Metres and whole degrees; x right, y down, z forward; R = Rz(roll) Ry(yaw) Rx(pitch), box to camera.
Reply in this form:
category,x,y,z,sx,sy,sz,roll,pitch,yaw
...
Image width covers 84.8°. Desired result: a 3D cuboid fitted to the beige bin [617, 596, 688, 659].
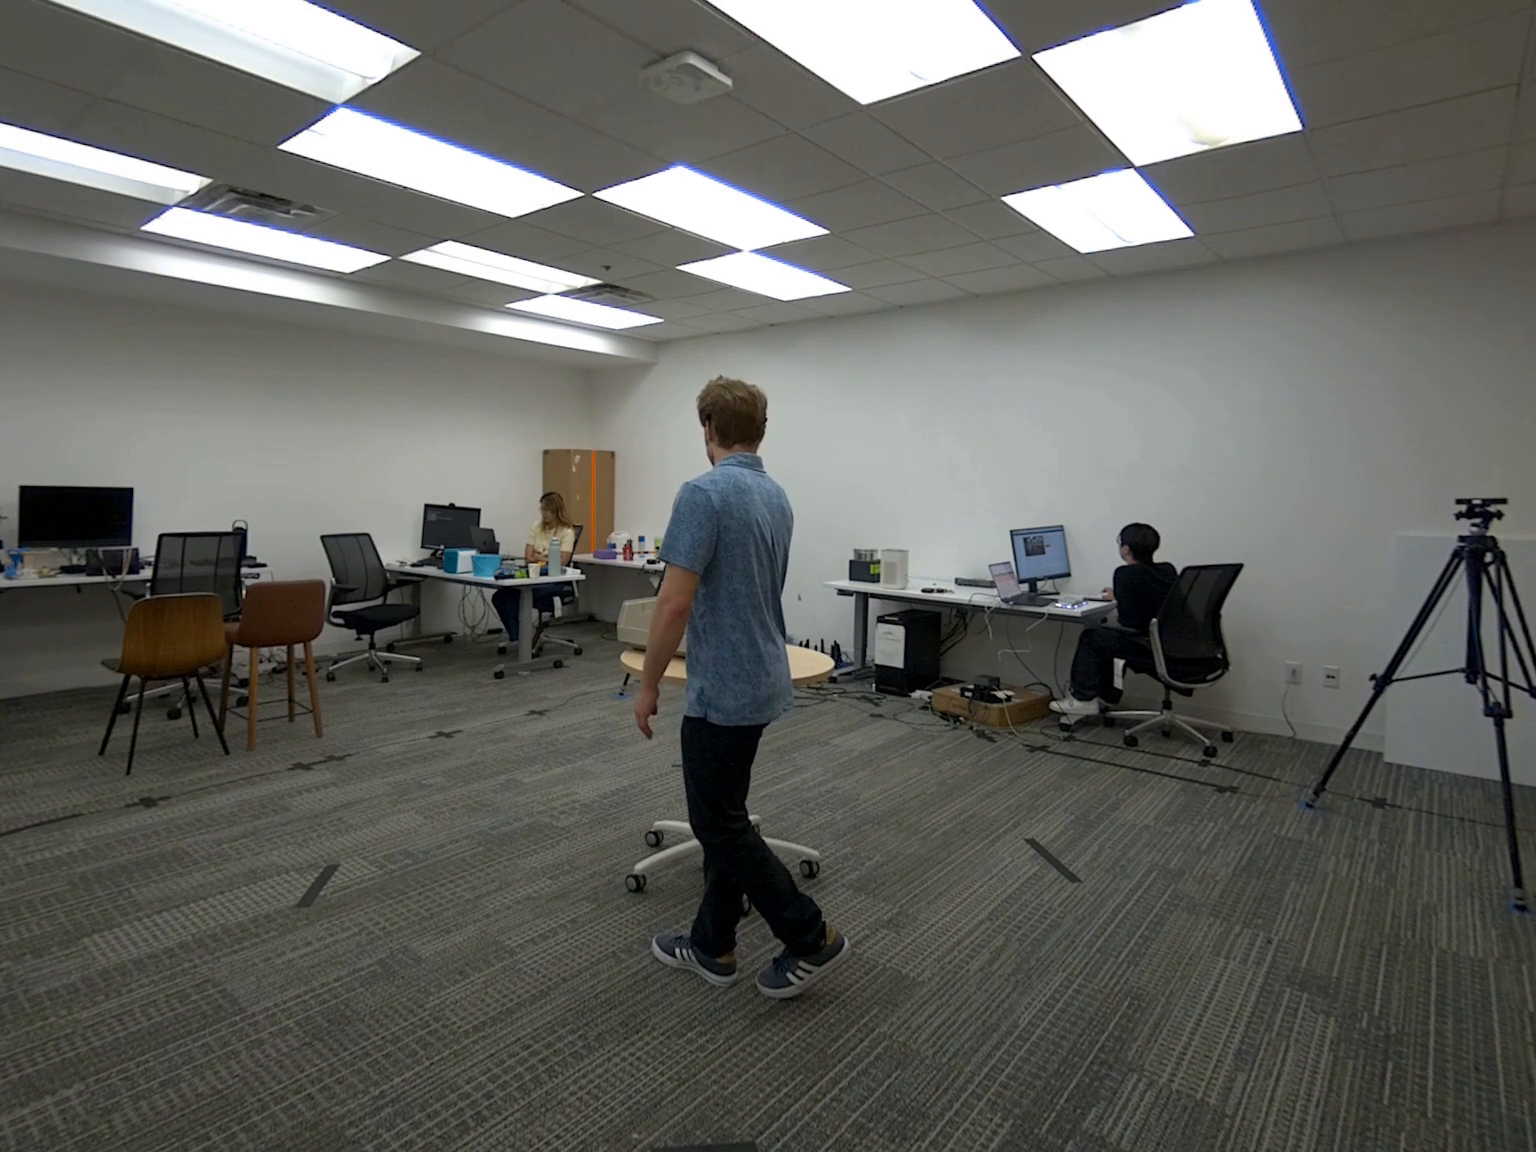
category,x,y,z,sx,sy,sz,roll,pitch,yaw
beige bin,-0.292,0.190,3.162,0.436,0.188,0.366,4,4,35
